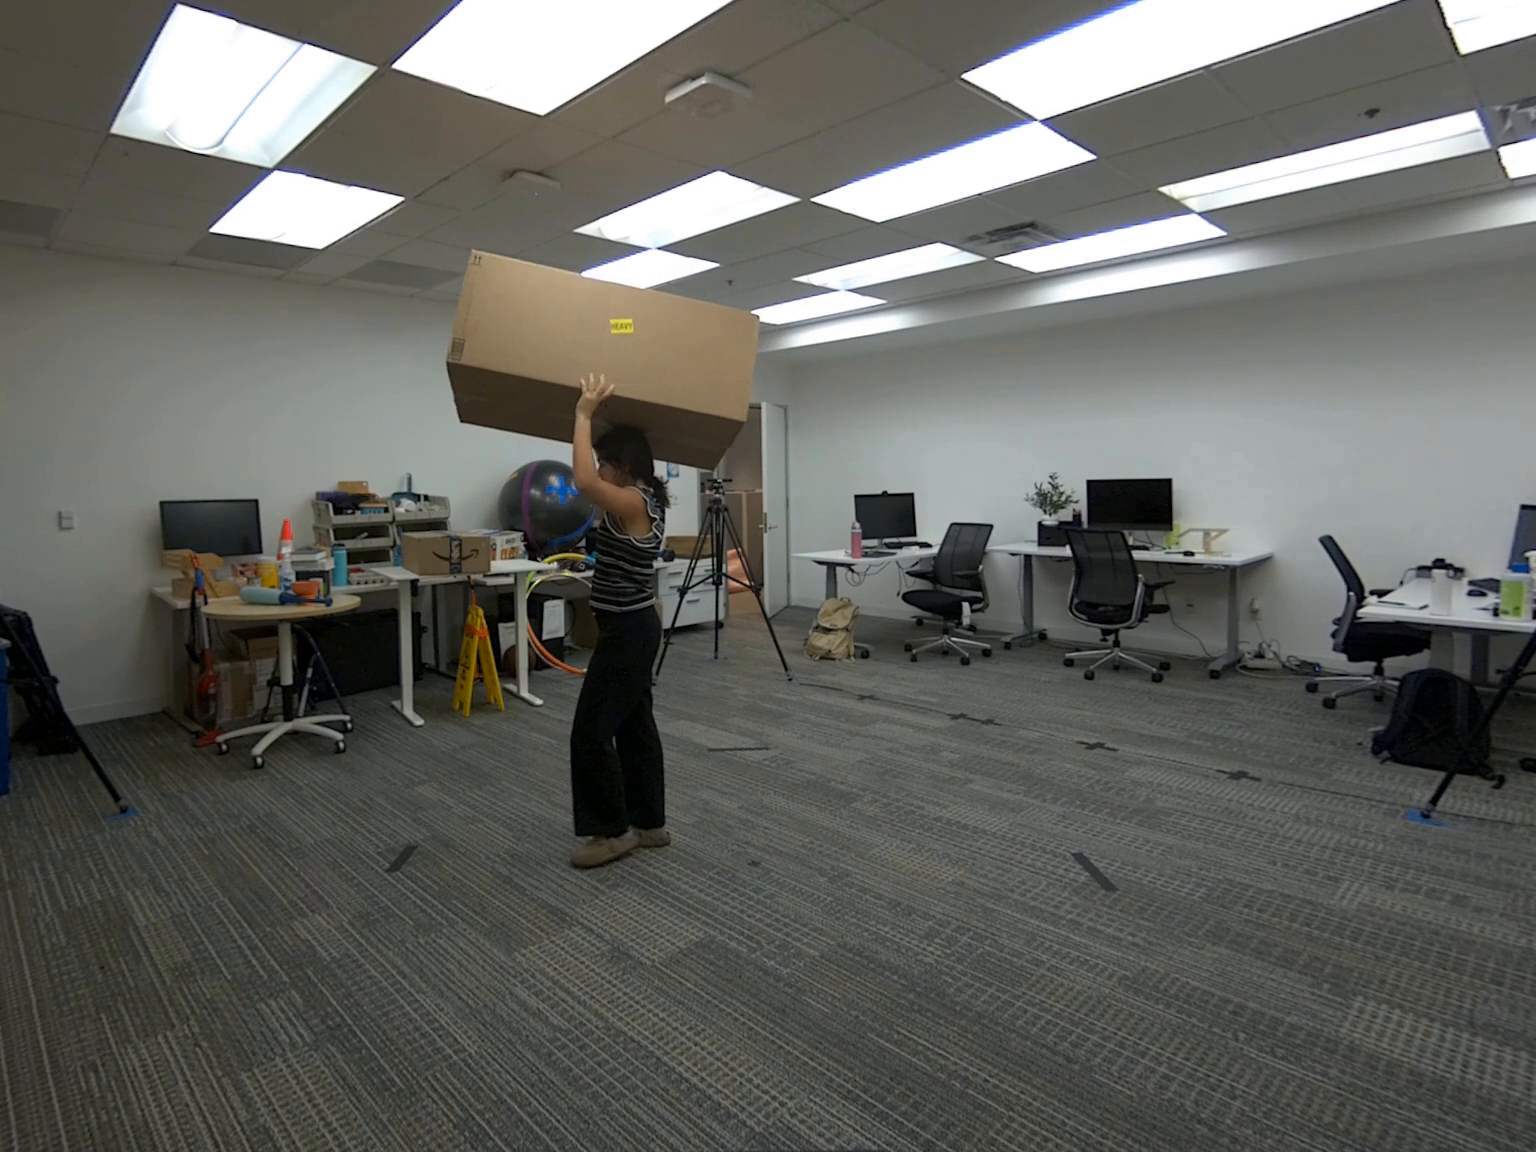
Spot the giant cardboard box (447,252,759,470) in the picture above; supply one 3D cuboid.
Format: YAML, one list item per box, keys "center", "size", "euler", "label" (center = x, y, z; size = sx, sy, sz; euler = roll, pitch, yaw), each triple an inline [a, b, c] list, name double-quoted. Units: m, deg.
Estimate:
- center: [-0.612, -0.764, 3.190]
  size: [1.015, 0.431, 0.578]
  euler: [10, -13, -10]
  label: "giant cardboard box"
